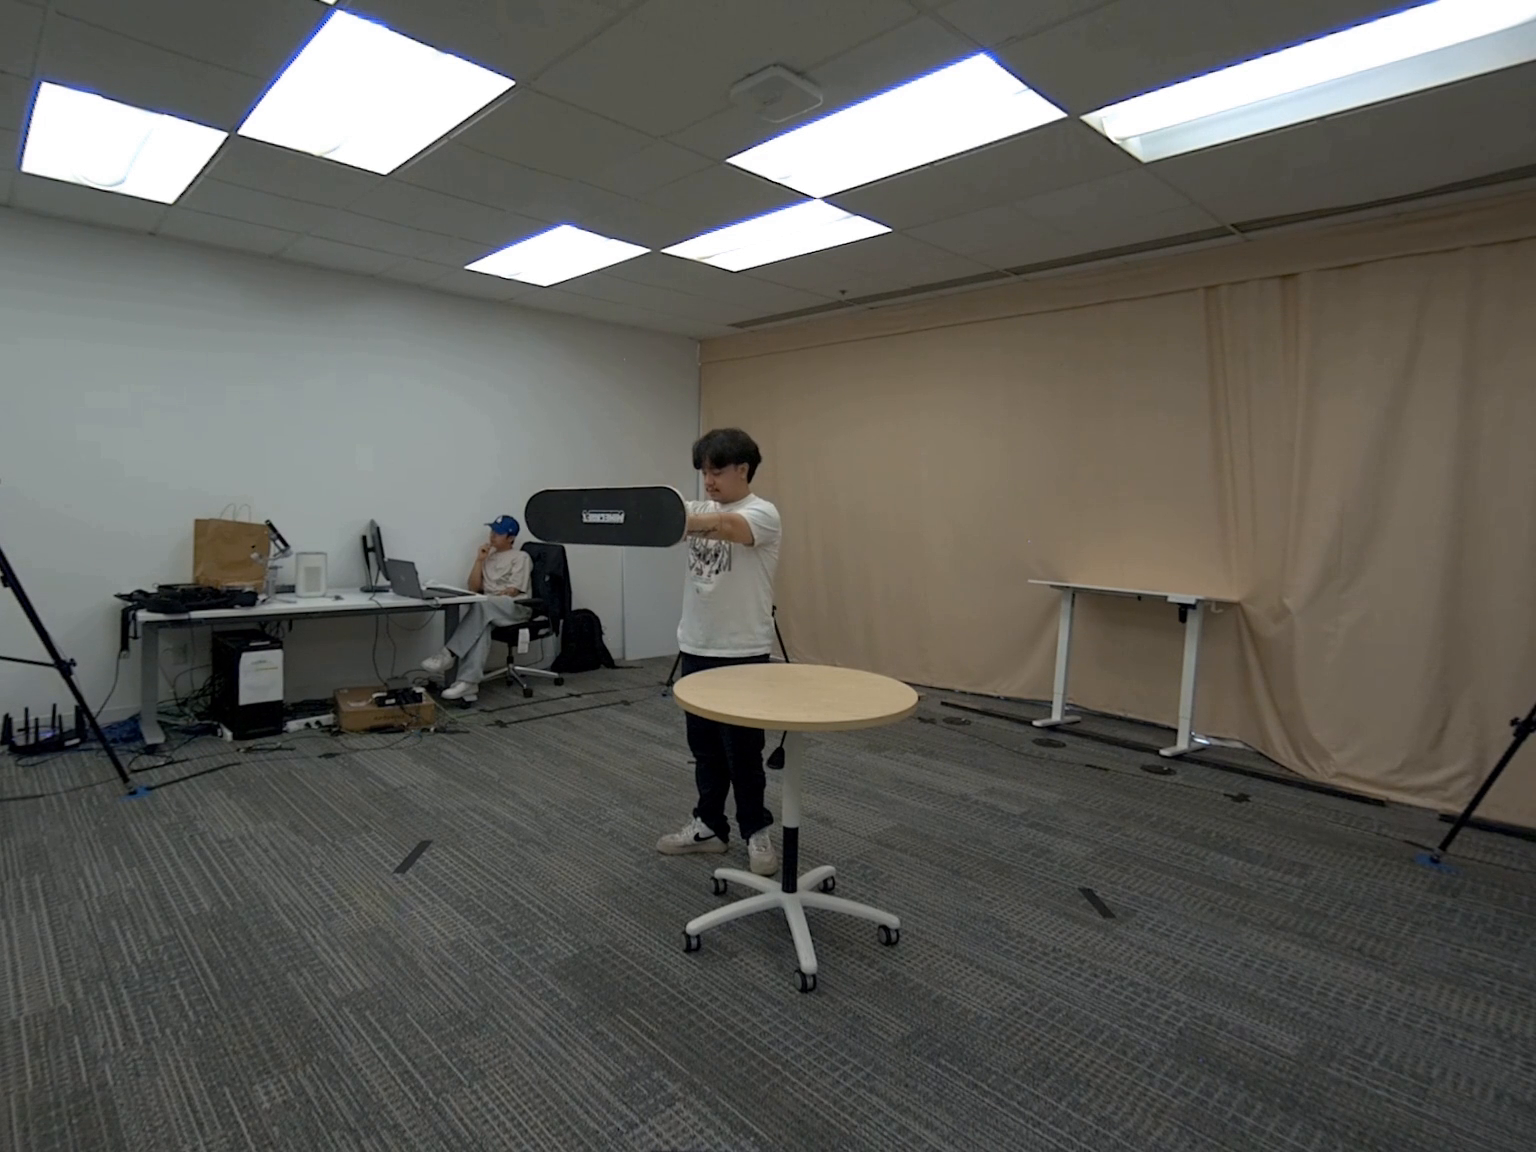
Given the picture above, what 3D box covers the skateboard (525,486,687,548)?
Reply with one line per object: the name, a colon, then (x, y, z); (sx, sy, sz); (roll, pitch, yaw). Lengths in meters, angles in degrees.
skateboard: (-0.531, -0.196, 2.801); (0.805, 0.193, 0.108); (4, 7, 39)
